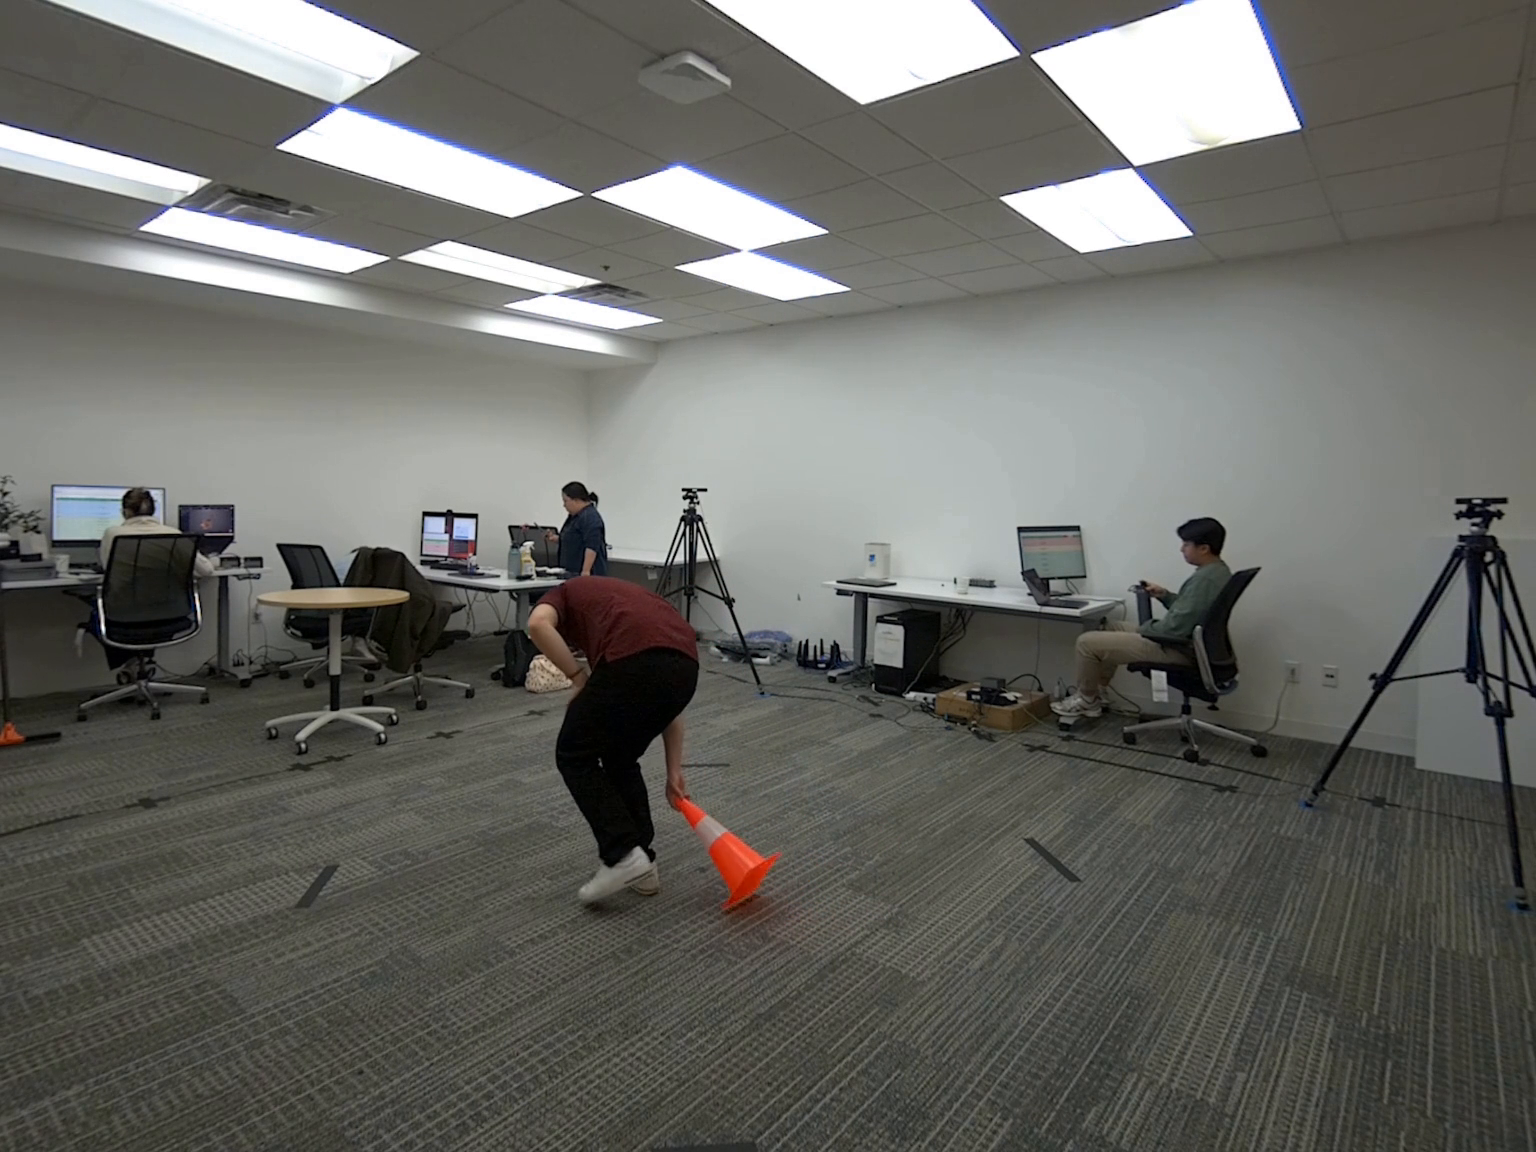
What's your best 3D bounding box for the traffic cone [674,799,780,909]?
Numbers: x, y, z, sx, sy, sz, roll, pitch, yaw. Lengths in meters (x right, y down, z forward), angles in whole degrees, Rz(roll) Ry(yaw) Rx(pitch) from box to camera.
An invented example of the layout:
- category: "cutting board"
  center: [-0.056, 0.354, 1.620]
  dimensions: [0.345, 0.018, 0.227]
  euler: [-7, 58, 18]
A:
- category: "traffic cone"
  center: [-0.195, 0.907, 2.906]
  dimensions: [0.397, 0.202, 0.200]
  euler: [39, 26, 26]
